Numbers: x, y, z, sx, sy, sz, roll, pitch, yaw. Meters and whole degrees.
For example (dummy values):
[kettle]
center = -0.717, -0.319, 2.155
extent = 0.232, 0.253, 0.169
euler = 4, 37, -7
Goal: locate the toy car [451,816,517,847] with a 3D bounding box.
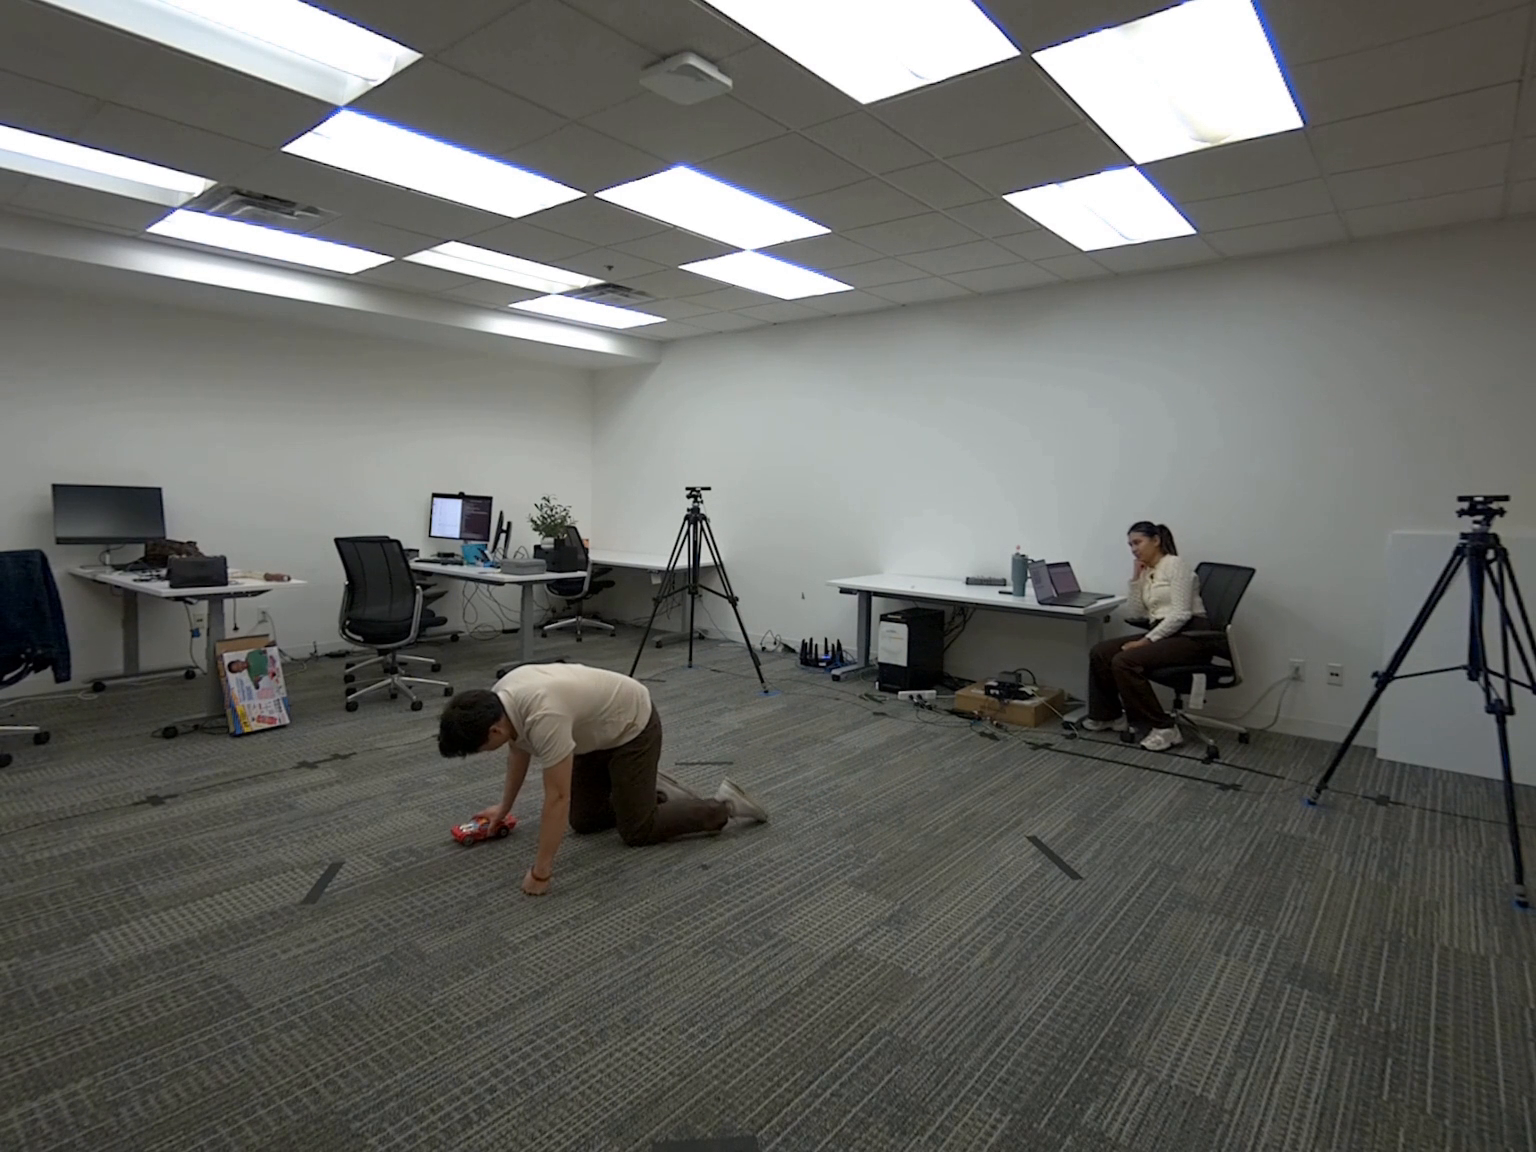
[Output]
[toy car]
center = -1.137, 1.000, 3.370
extent = 0.248, 0.082, 0.134
euler = -13, 11, -40
